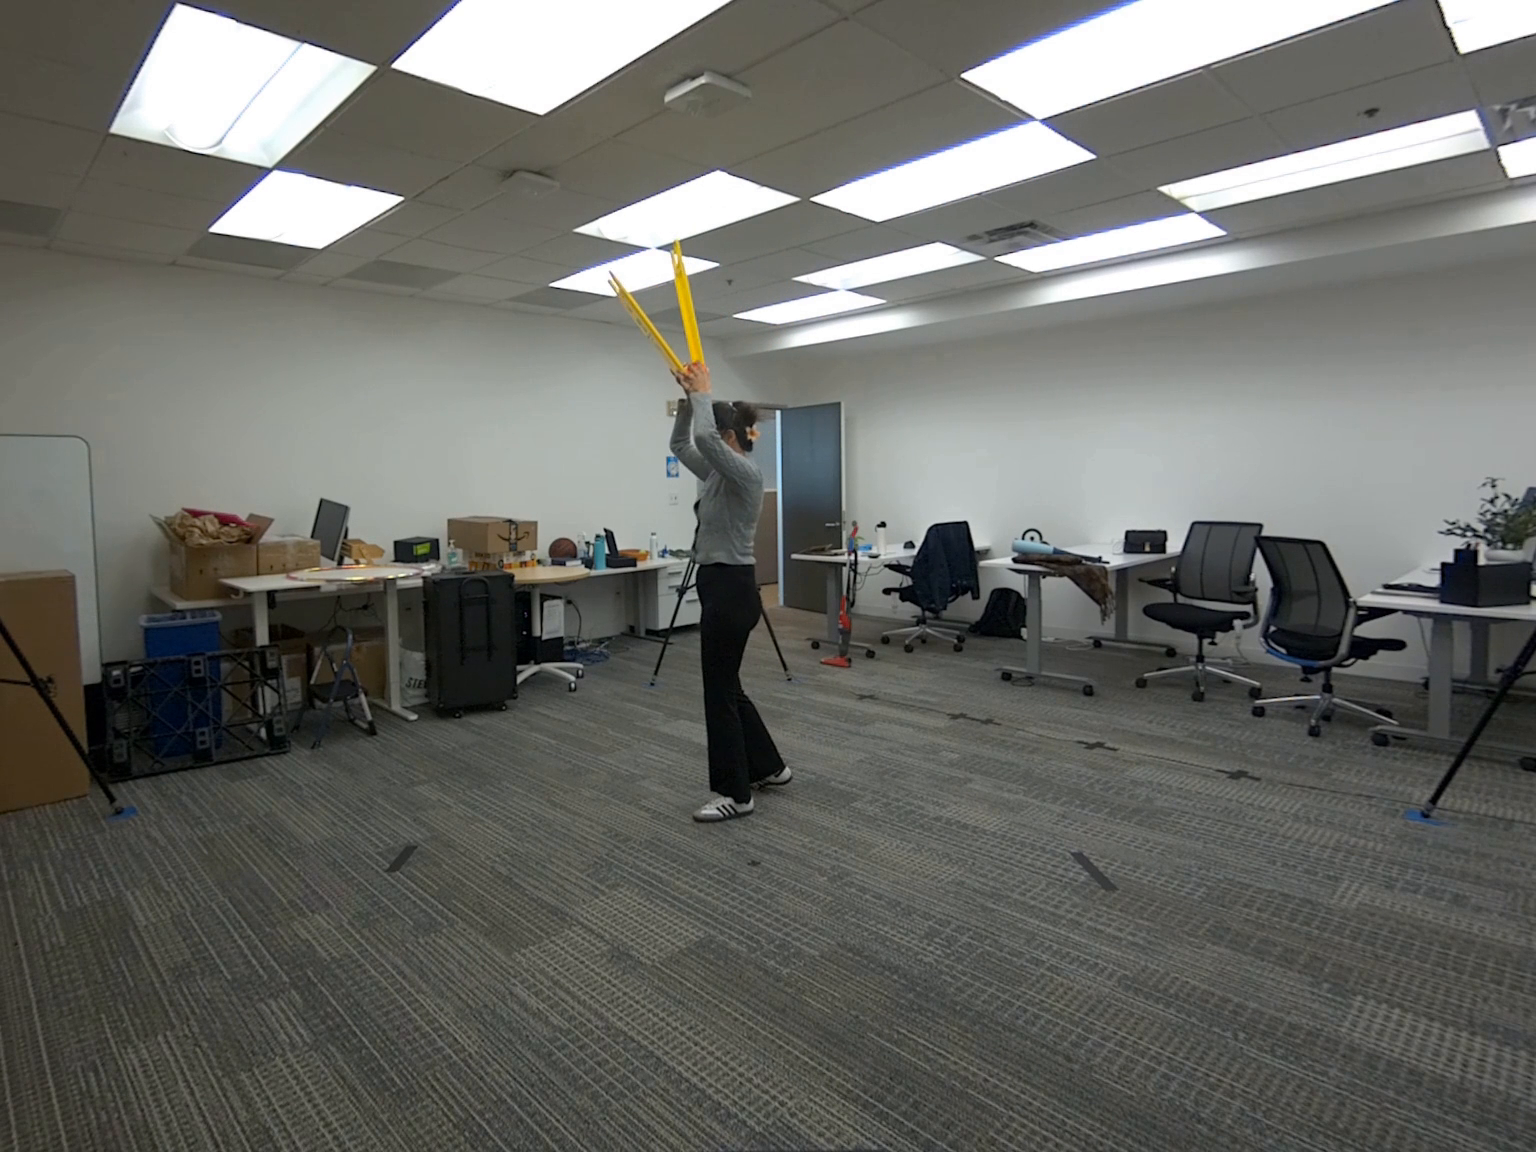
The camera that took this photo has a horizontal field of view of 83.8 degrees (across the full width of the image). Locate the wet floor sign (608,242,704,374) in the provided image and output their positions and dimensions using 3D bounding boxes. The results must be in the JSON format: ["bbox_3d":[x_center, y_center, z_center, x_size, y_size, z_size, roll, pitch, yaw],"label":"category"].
[{"bbox_3d":[-0.374,-0.974,3.467,0.289,0.641,0.285,-25,7,-4],"label":"wet floor sign"}]
